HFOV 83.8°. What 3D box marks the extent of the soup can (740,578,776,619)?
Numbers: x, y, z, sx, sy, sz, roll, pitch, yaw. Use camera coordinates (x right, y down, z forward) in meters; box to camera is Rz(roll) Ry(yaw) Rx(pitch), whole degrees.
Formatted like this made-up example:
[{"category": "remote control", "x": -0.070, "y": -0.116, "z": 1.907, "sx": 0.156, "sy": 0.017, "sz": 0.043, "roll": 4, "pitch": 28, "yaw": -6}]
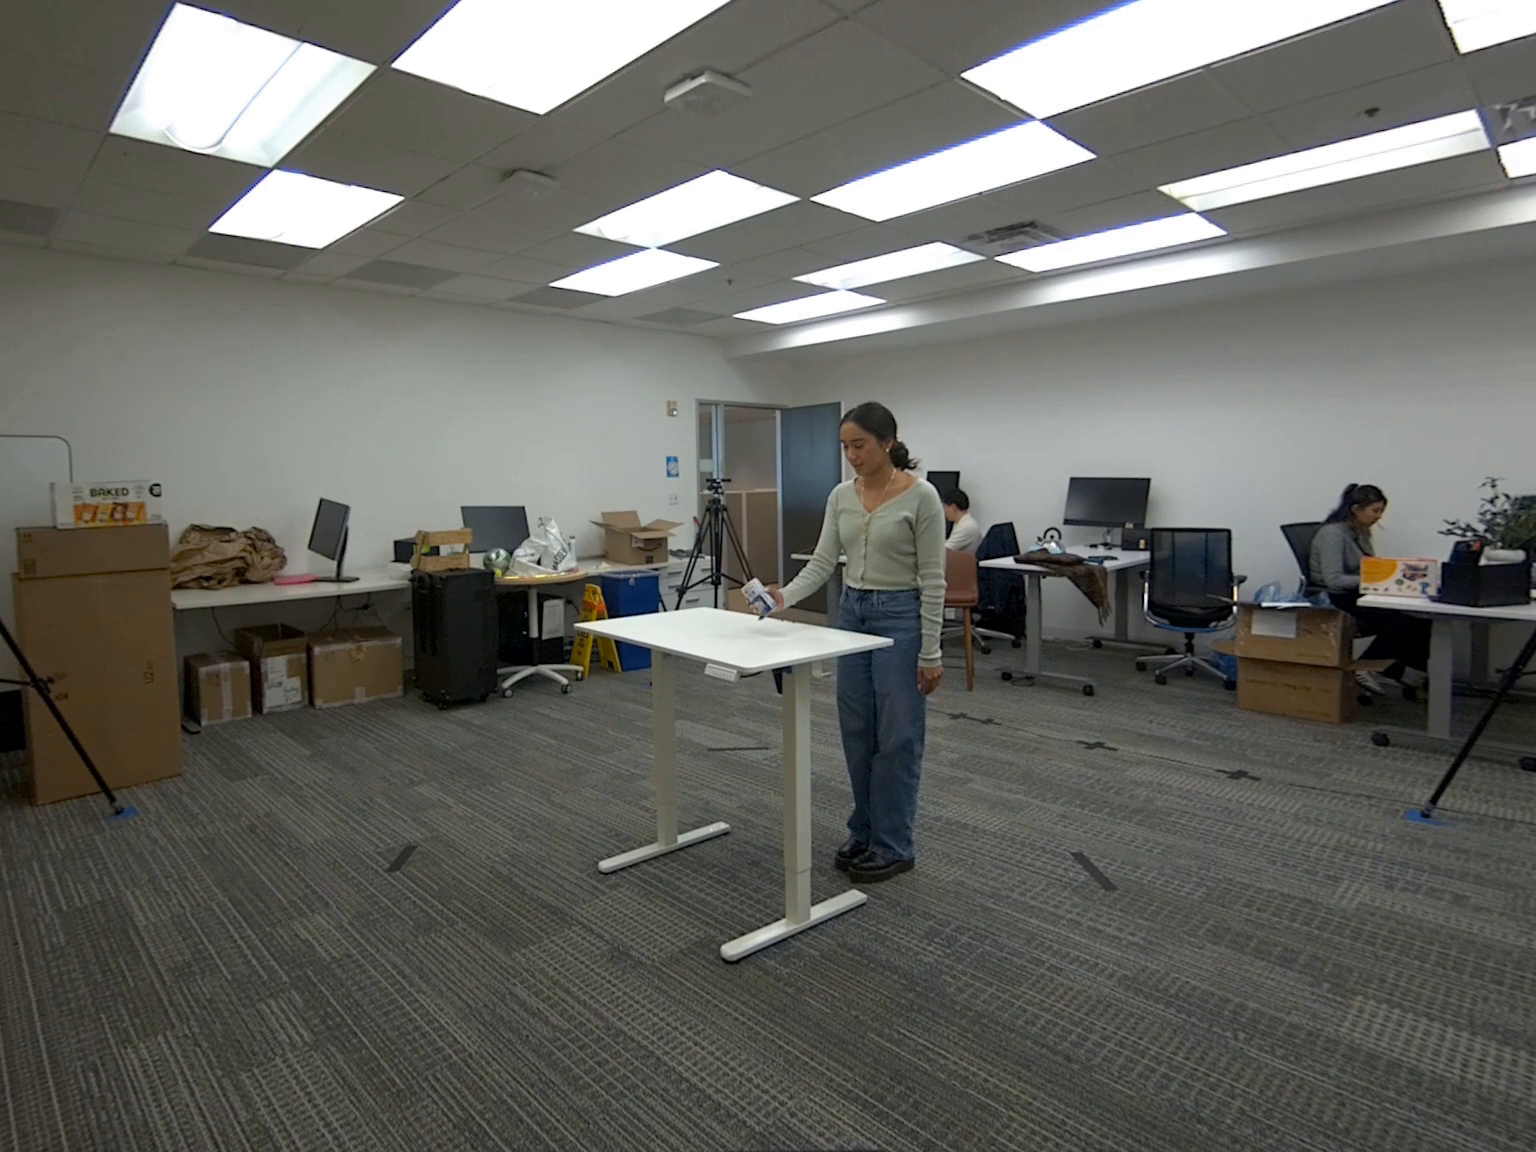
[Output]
[{"category": "soup can", "x": -0.030, "y": 0.072, "z": 2.789, "sx": 0.067, "sy": 0.123, "sz": 0.066, "roll": -18, "pitch": -8, "yaw": -4}]
